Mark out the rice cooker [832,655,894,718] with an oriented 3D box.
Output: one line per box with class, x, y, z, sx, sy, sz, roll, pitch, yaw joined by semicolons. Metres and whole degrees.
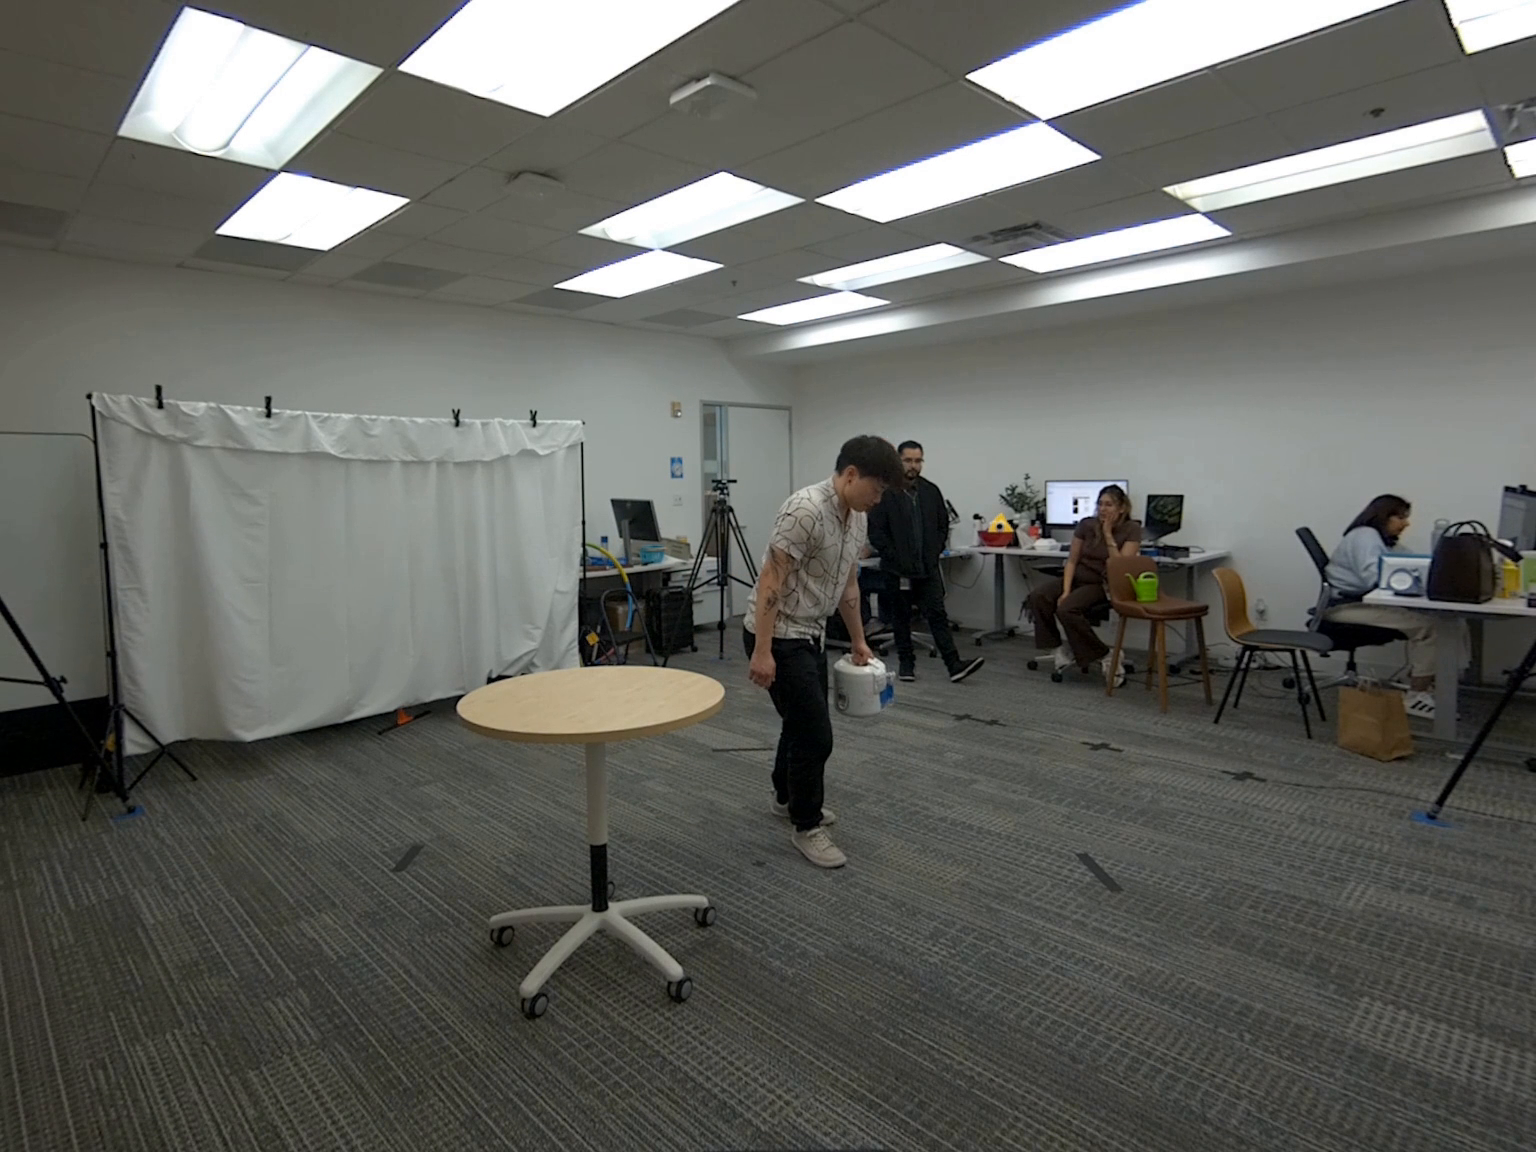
rice cooker;0.365;0.426;3.382;0.212;0.231;0.228;-10;12;-43
